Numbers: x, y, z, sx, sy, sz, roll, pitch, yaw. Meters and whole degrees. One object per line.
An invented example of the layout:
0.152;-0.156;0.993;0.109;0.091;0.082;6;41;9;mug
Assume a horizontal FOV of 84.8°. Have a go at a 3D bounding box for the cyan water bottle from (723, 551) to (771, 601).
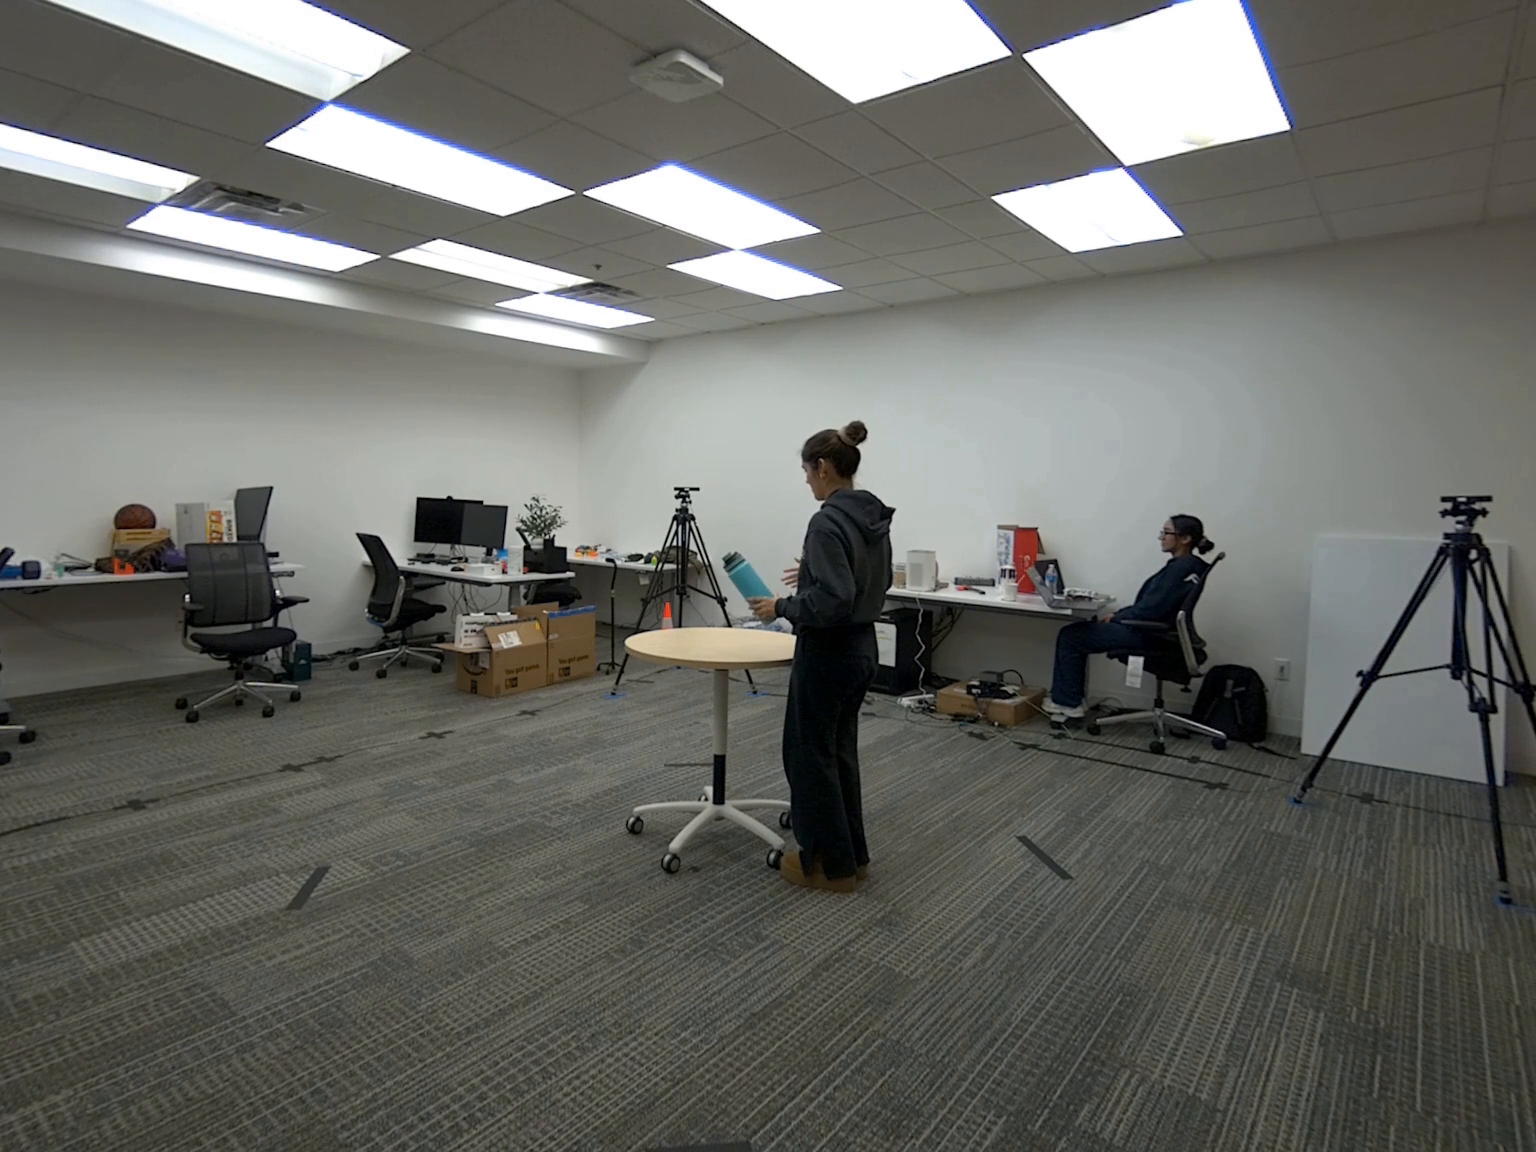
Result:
-0.059;0.005;3.003;0.092;0.286;0.092;-34;-5;-4;cyan water bottle
